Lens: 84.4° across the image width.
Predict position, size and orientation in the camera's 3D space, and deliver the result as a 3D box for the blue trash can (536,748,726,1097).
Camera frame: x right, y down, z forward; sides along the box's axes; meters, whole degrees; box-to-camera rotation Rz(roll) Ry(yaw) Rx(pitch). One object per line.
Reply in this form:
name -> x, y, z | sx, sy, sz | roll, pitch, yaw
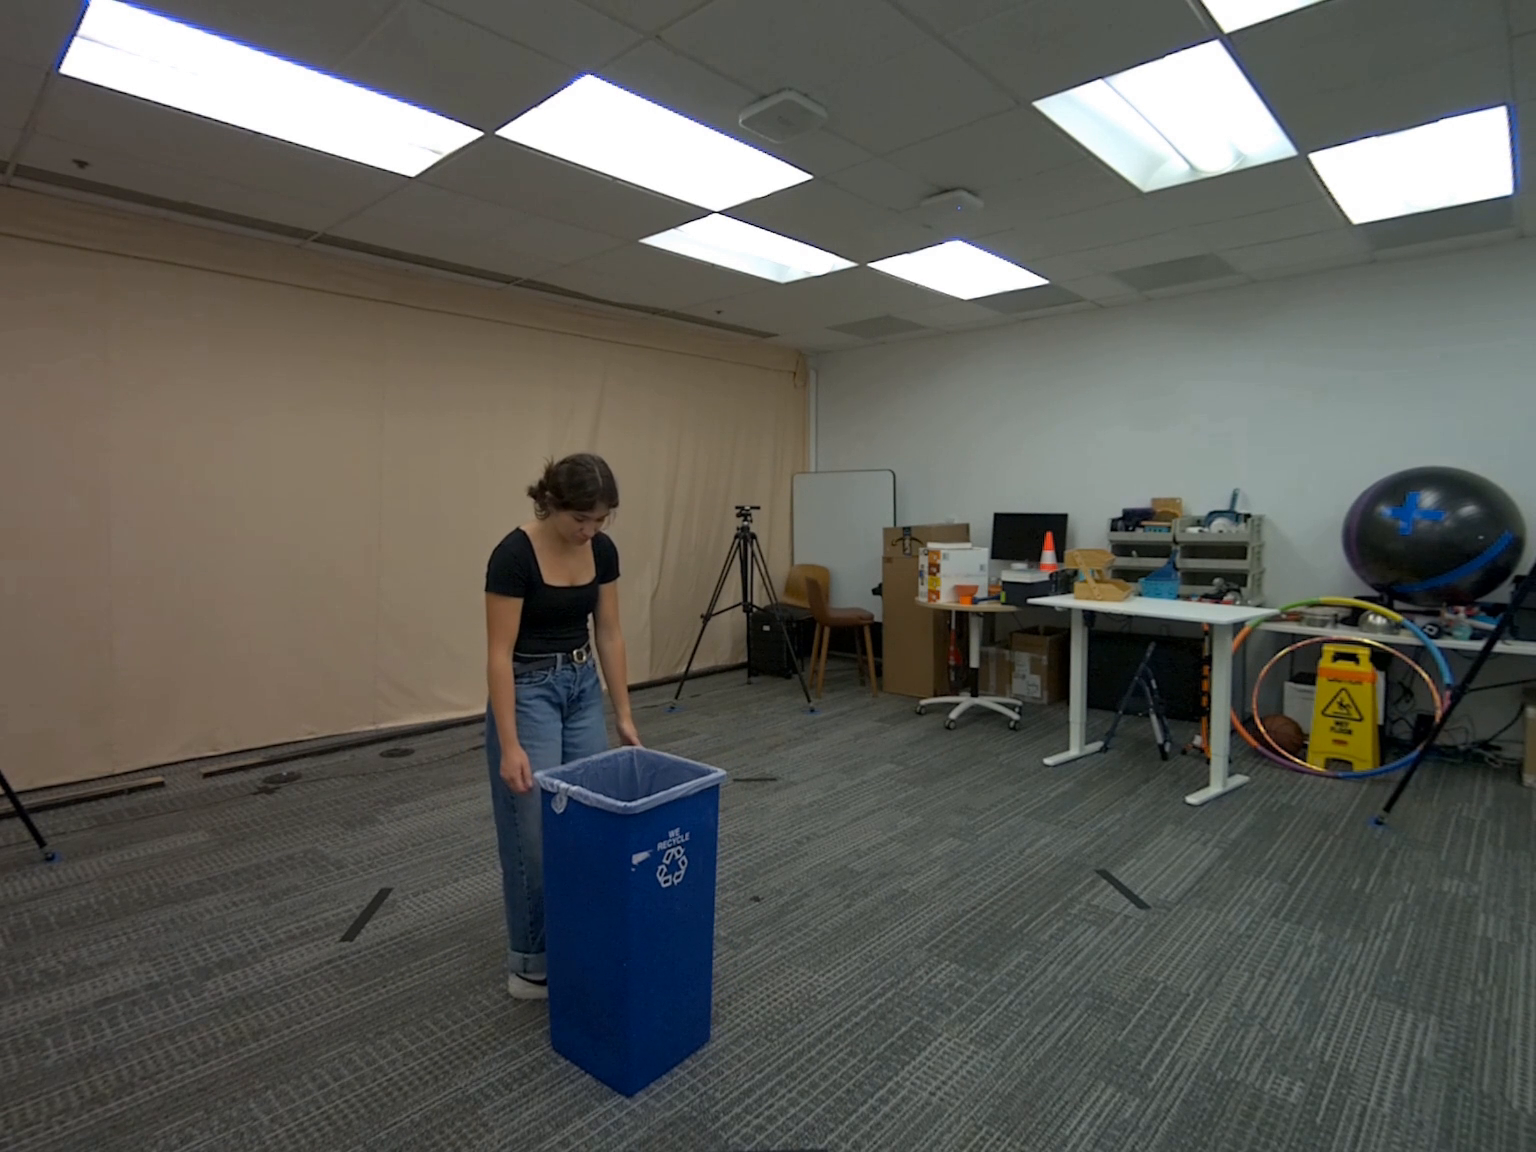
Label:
blue trash can -> -0.349, 0.856, 2.171 | 0.390, 0.712, 0.363 | 3, 4, 39
